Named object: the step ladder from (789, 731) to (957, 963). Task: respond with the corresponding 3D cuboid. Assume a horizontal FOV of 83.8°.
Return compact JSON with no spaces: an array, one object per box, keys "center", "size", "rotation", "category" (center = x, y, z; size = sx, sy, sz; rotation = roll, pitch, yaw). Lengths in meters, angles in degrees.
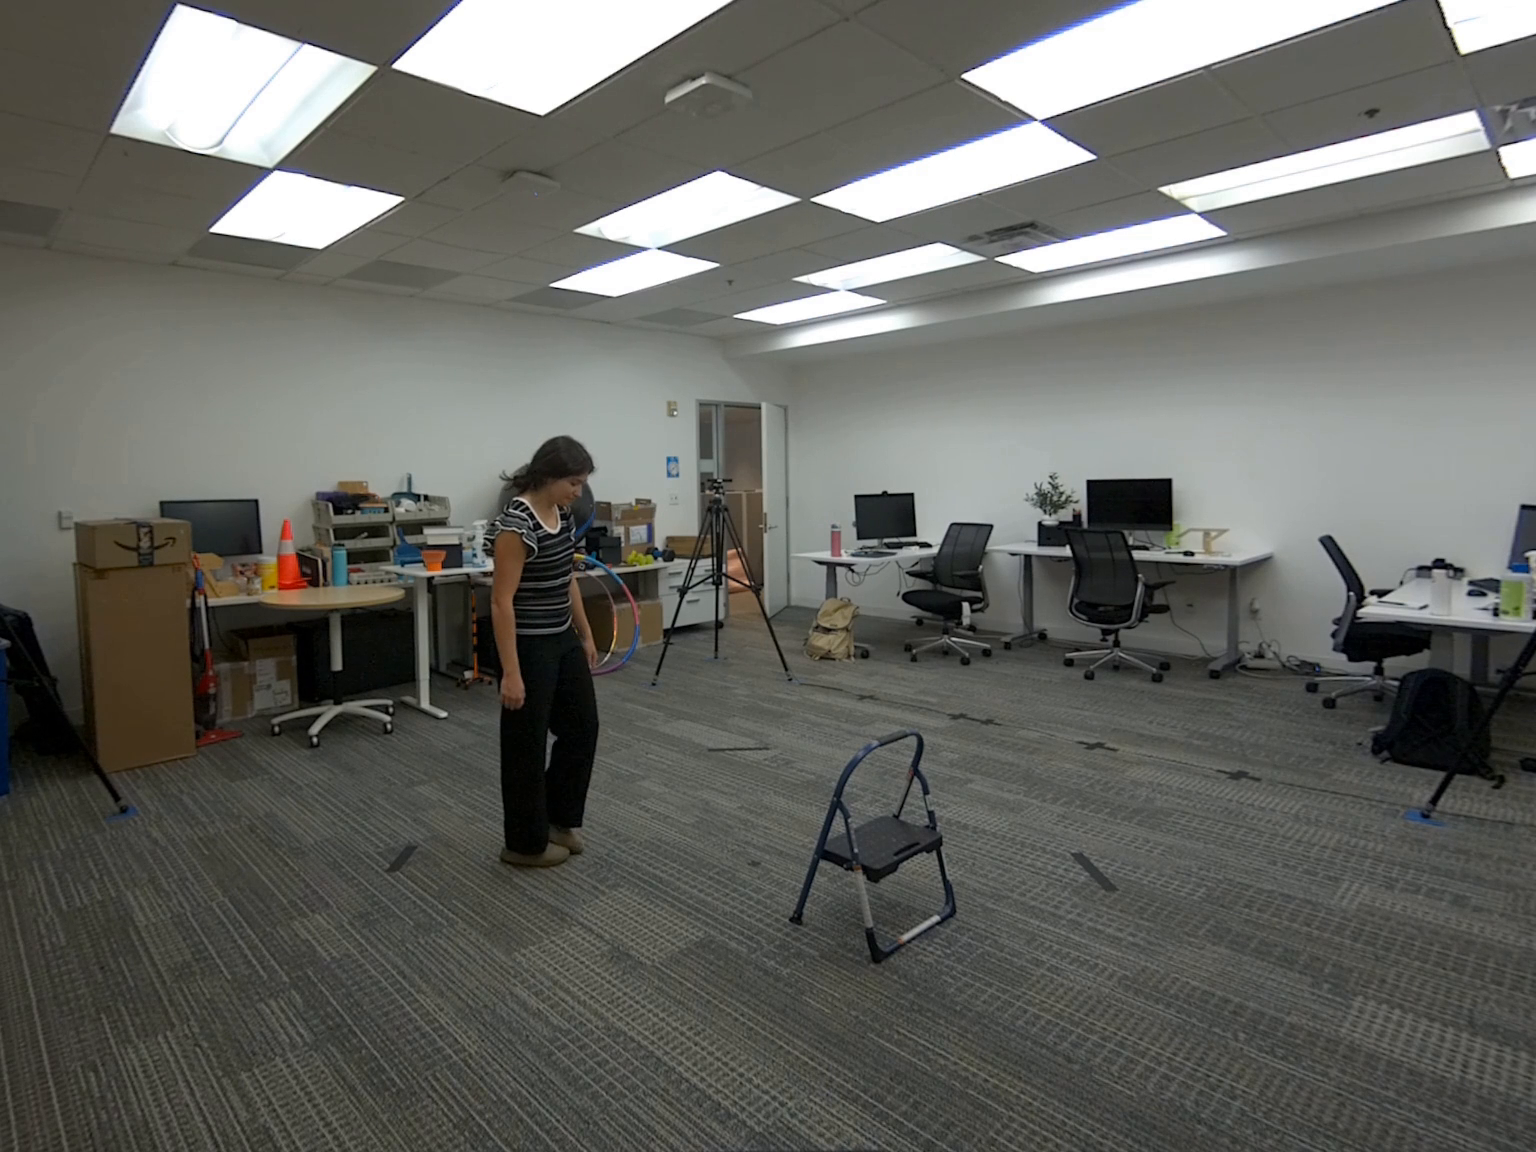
[{"center":[0.337,0.788,2.687],"size":[0.419,0.604,0.360],"rotation":[-5,6,-44],"category":"step ladder"}]
